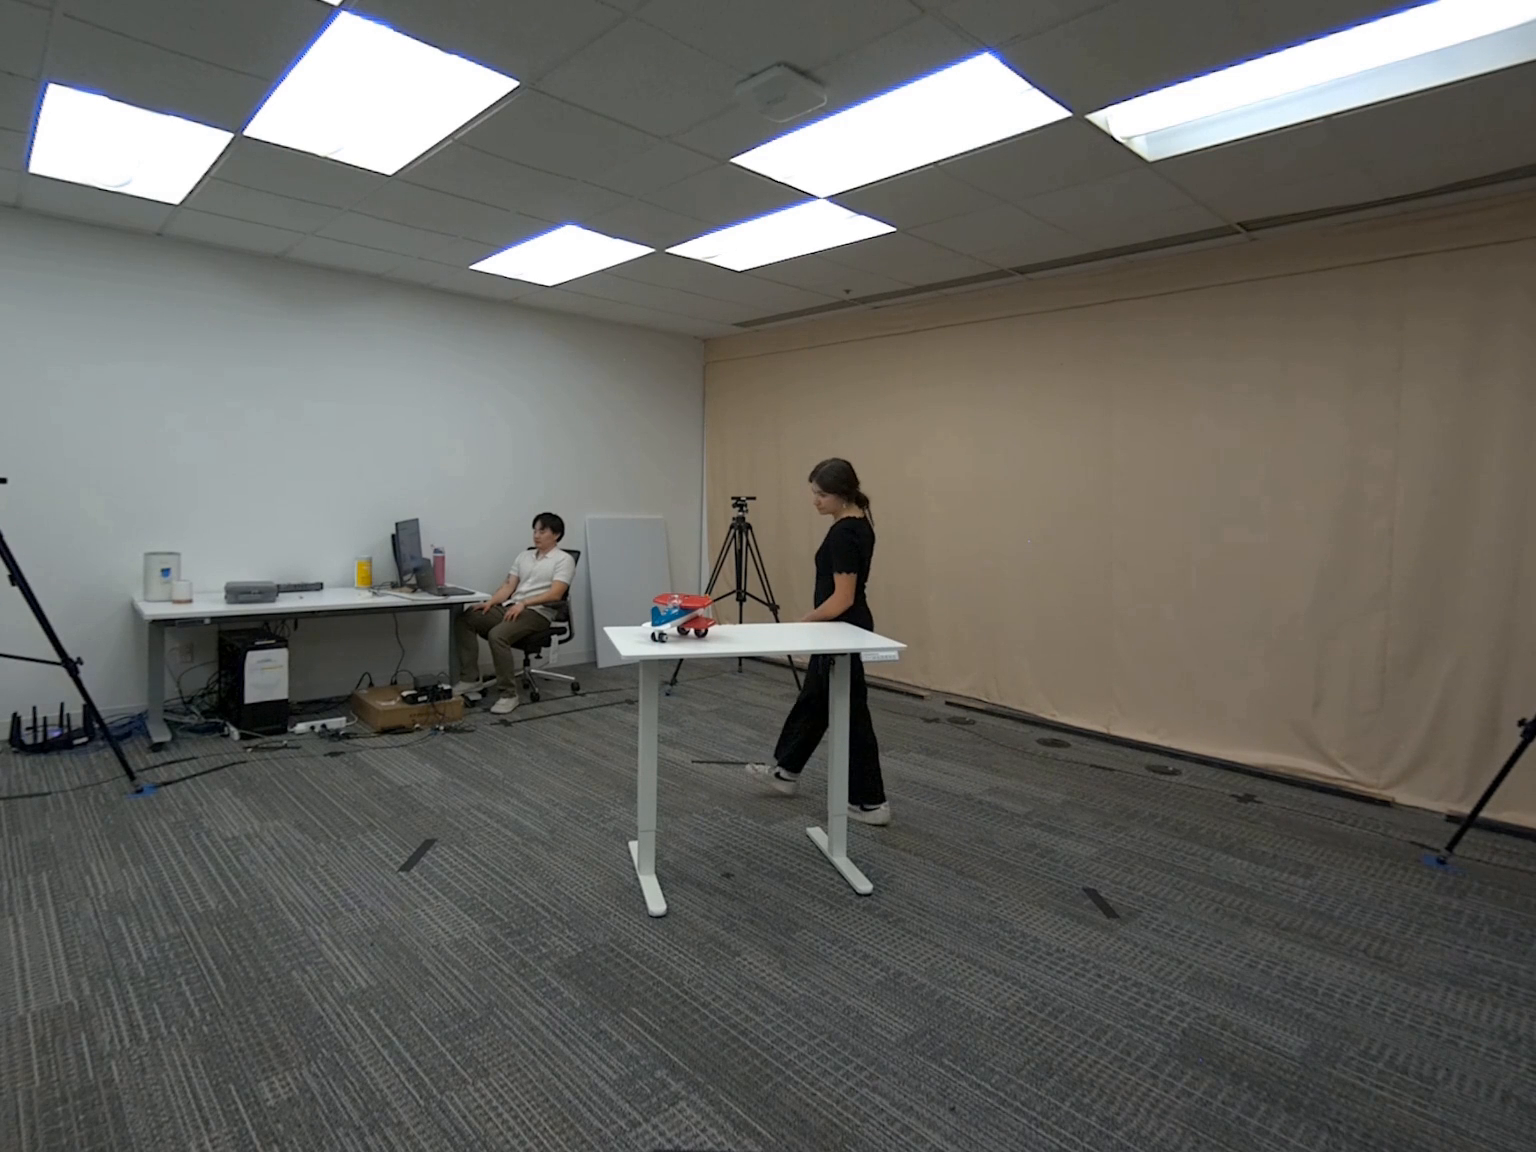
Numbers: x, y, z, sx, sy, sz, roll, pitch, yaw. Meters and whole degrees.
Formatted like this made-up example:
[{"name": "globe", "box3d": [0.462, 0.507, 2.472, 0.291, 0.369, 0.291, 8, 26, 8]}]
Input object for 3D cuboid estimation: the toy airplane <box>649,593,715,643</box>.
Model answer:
[{"name": "toy airplane", "box3d": [-0.316, 0.153, 3.017, 0.253, 0.156, 0.258, 1, 4, 8]}]
